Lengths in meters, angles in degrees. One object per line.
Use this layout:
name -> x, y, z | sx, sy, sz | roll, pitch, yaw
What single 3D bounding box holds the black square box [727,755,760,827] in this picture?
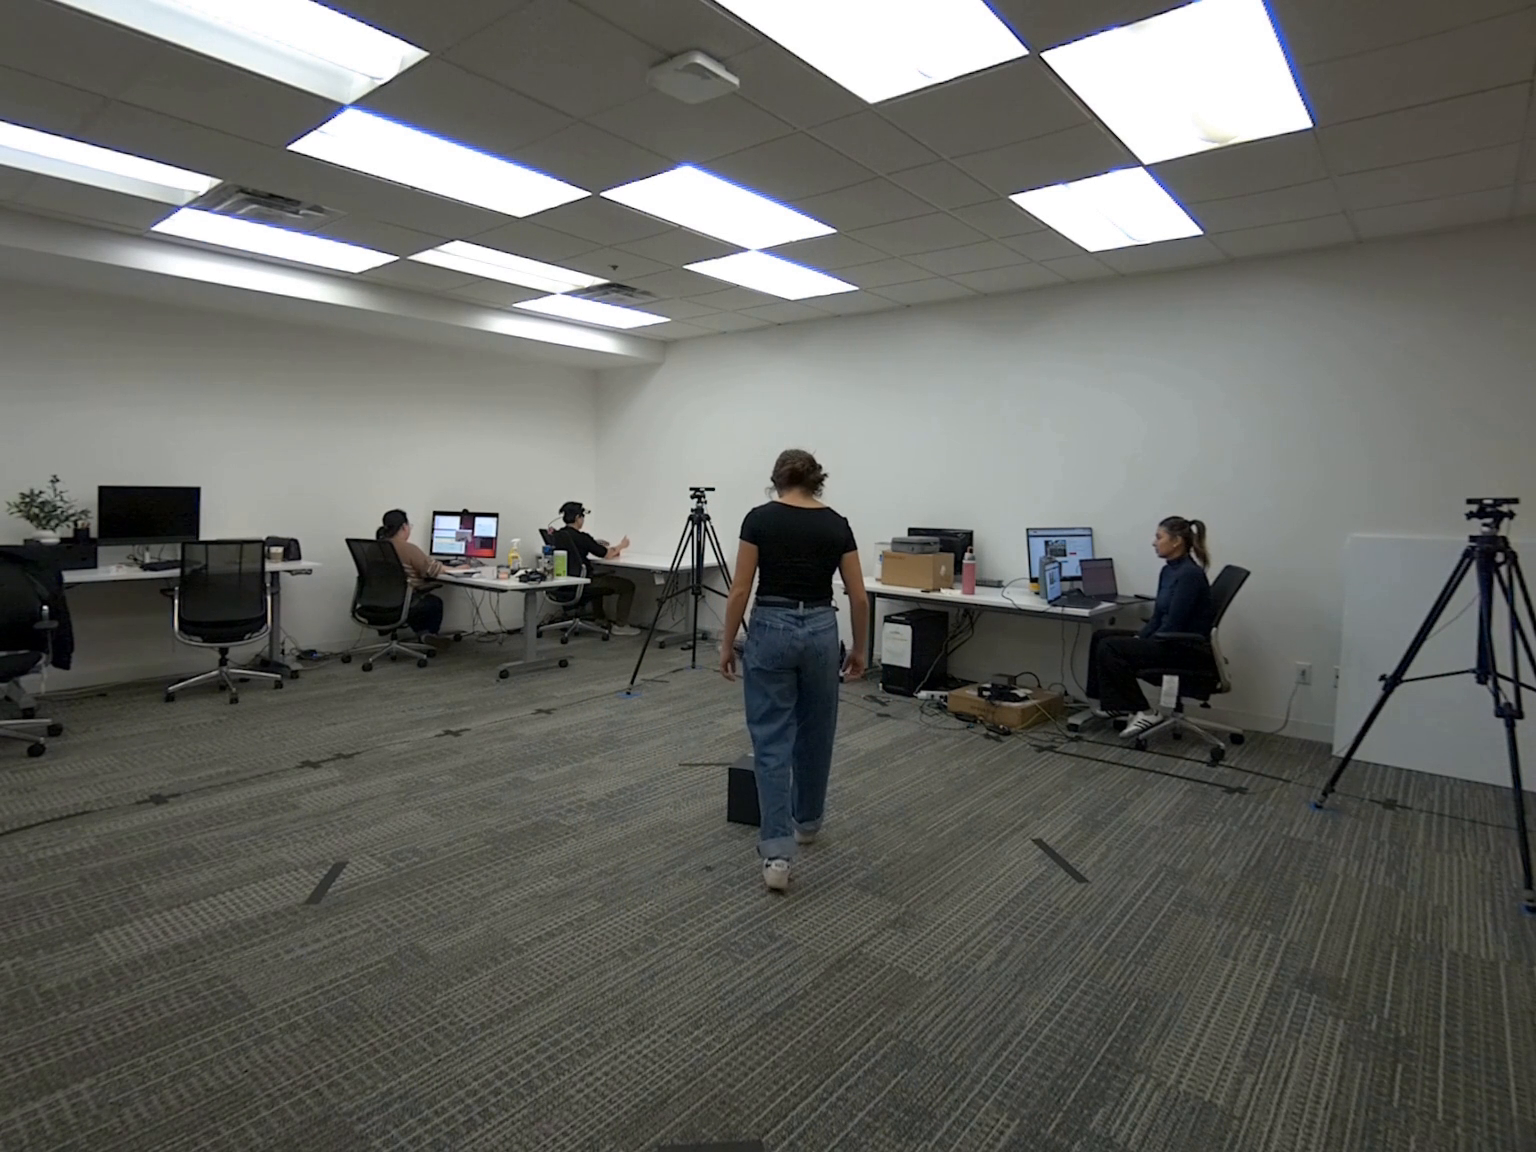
black square box -> -0.073, 0.899, 3.621 | 0.159, 0.227, 0.213 | 3, 4, 18
